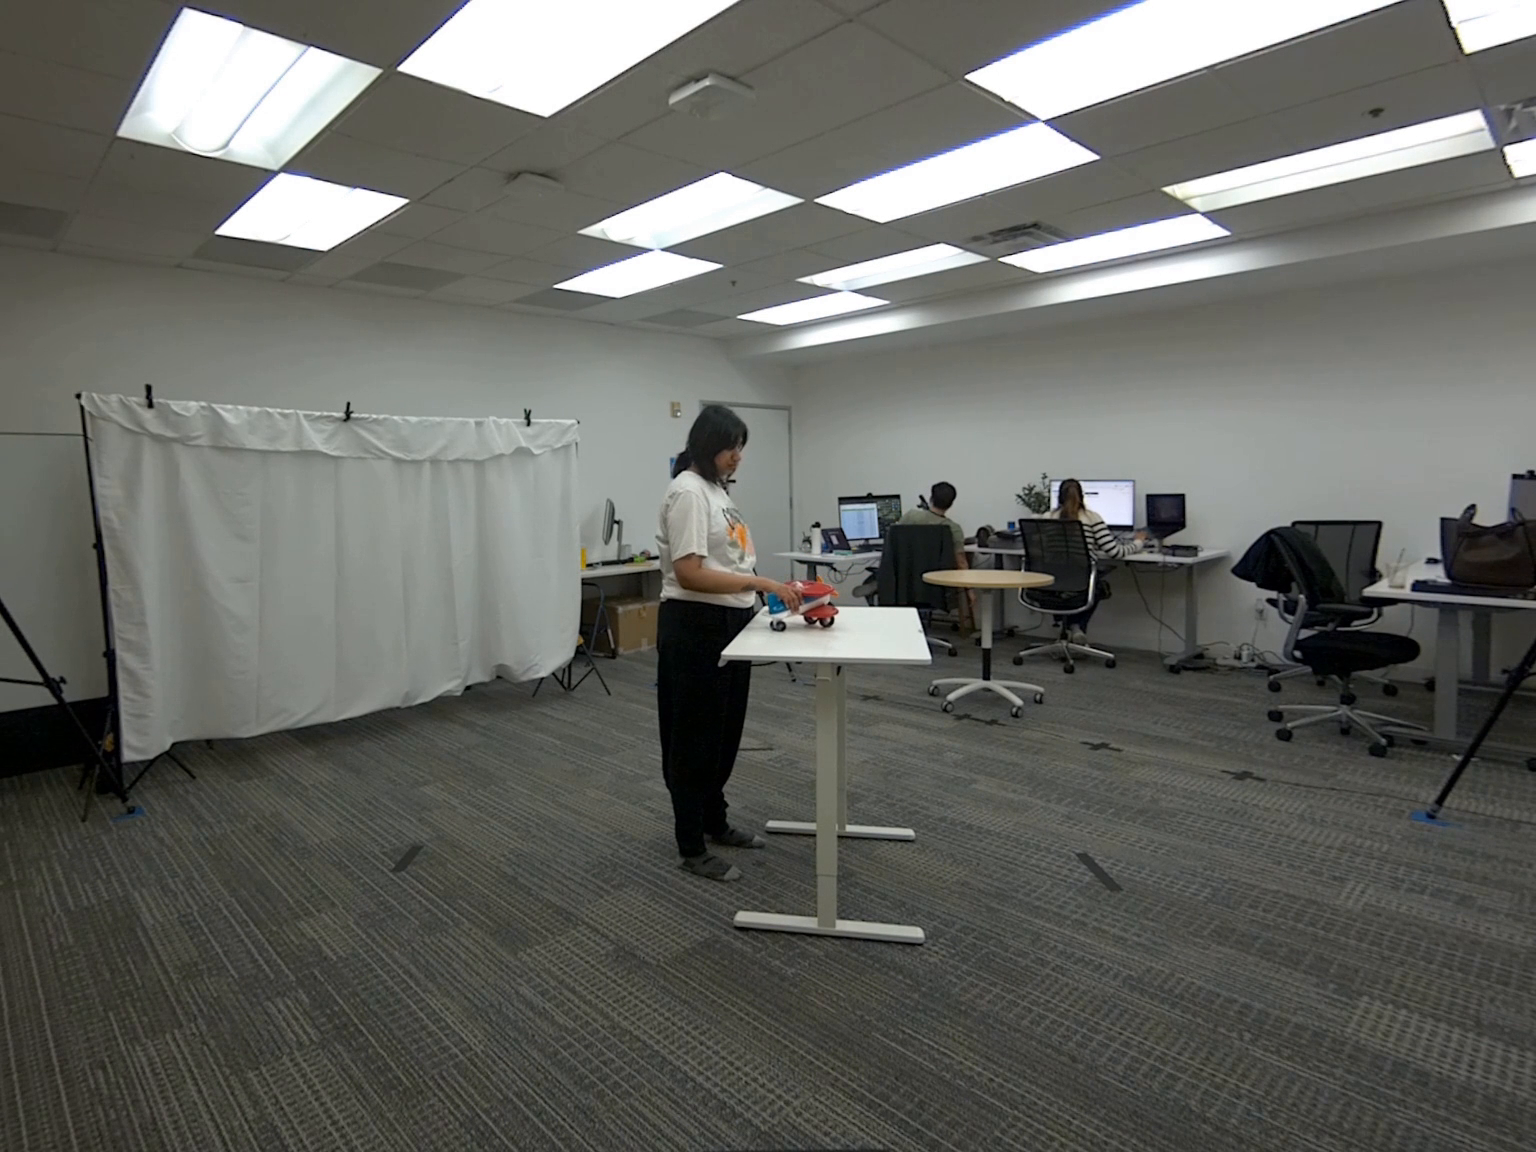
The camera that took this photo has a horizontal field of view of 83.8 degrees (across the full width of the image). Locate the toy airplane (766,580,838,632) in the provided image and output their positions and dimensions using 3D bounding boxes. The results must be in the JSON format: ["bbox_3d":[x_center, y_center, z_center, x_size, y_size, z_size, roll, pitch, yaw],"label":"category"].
[{"bbox_3d":[0.120,0.106,2.926,0.257,0.156,0.254,2,6,28],"label":"toy airplane"}]
